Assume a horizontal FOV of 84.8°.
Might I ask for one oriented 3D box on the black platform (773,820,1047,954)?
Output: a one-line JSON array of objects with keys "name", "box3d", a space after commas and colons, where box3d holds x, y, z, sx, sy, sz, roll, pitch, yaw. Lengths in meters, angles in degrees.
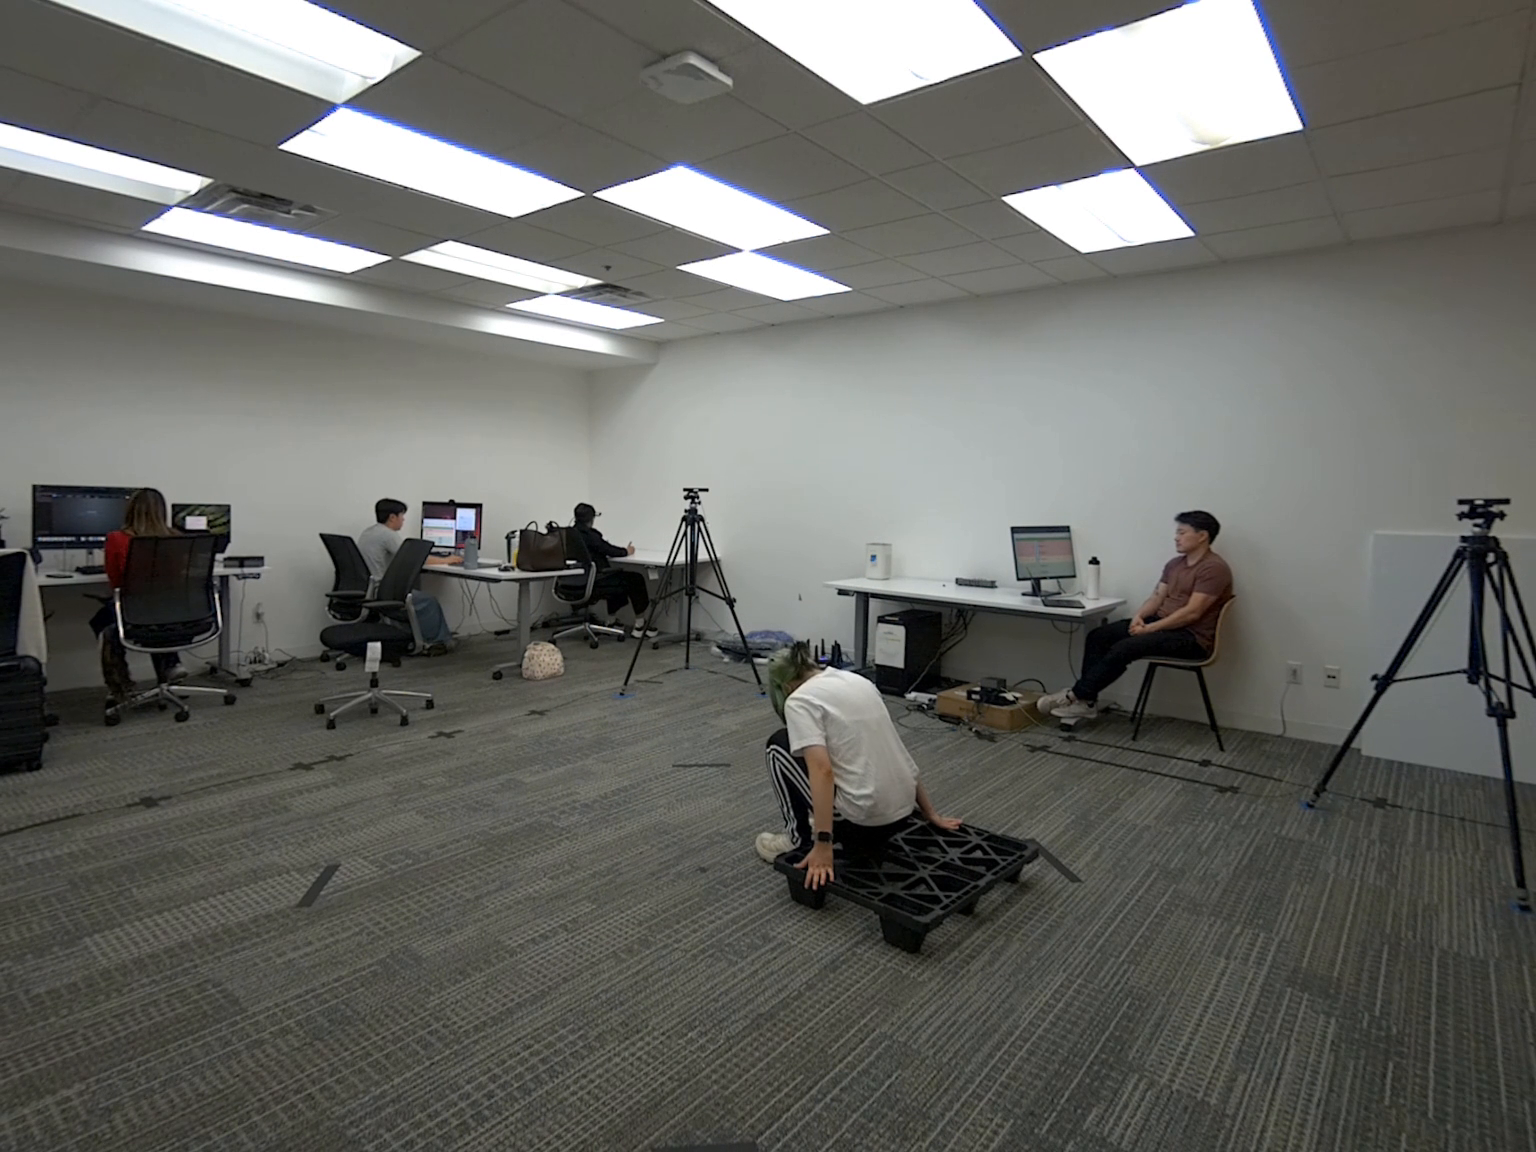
[{"name": "black platform", "box3d": [0.485, 1.032, 2.980, 0.626, 0.143, 0.781, 5, 6, 43]}]
